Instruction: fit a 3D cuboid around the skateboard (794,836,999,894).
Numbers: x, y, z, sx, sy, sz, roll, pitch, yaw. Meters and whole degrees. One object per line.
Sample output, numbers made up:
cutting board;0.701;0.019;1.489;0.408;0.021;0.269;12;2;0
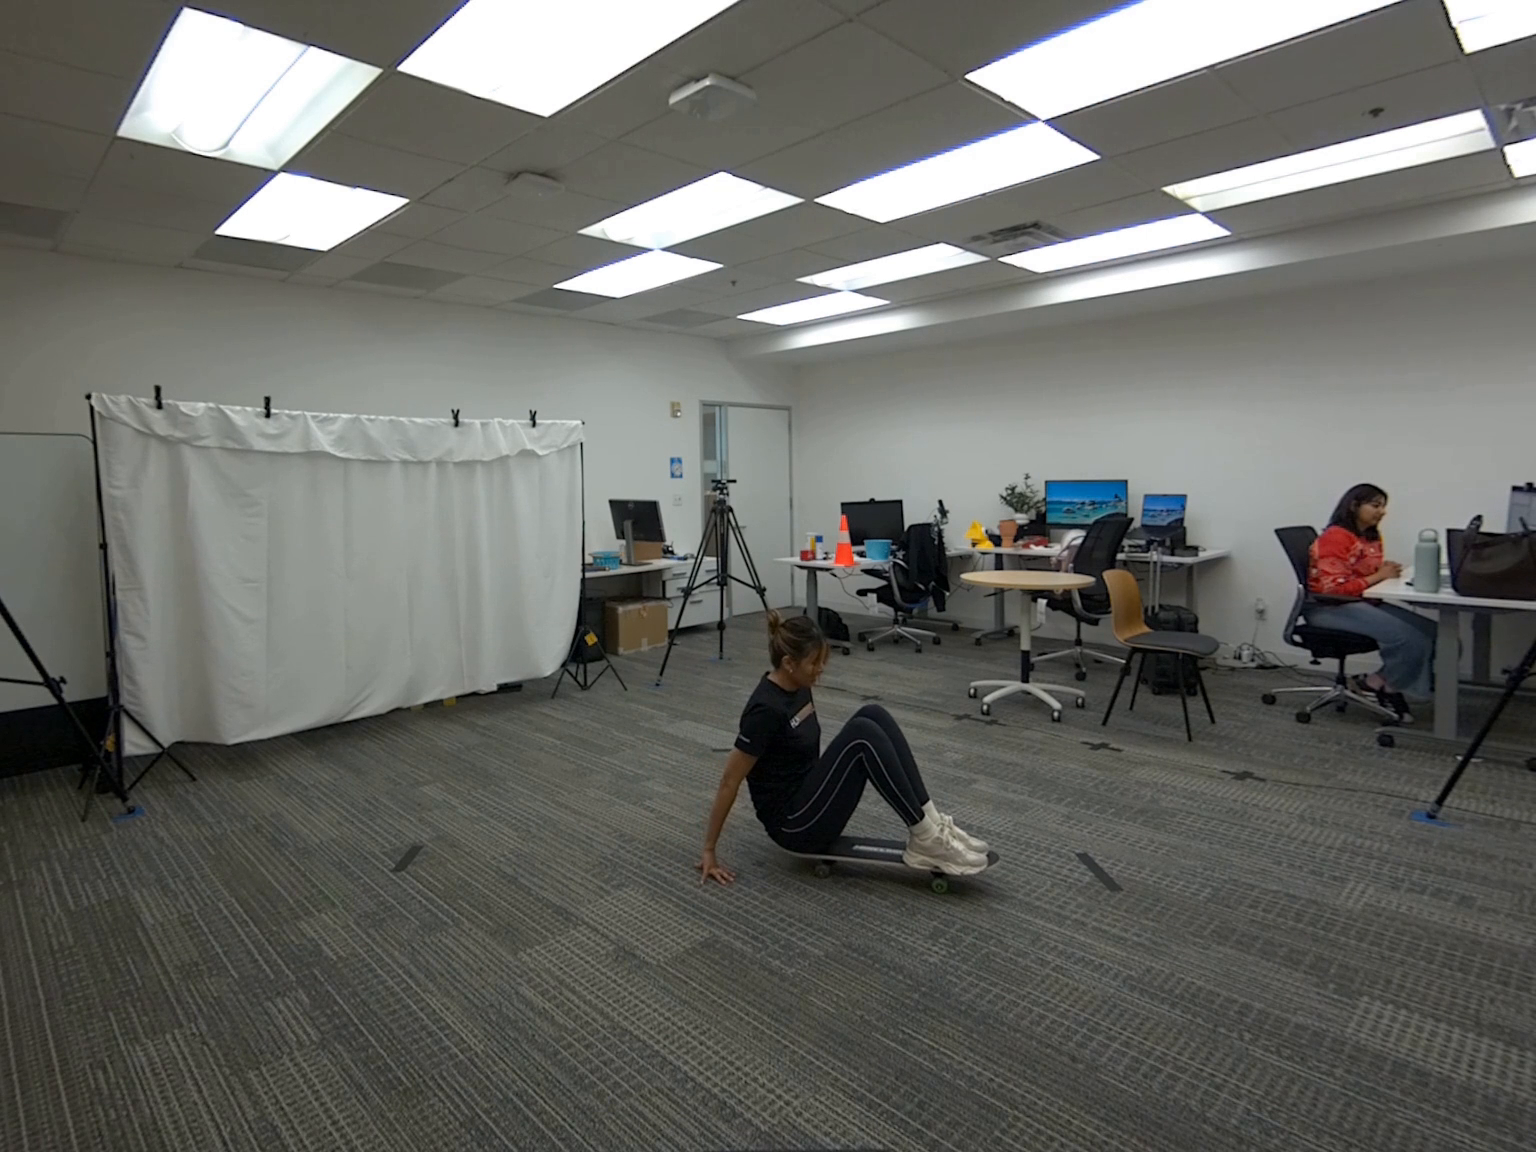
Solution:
skateboard;0.398;0.997;2.999;0.798;0.109;0.191;0;8;17
